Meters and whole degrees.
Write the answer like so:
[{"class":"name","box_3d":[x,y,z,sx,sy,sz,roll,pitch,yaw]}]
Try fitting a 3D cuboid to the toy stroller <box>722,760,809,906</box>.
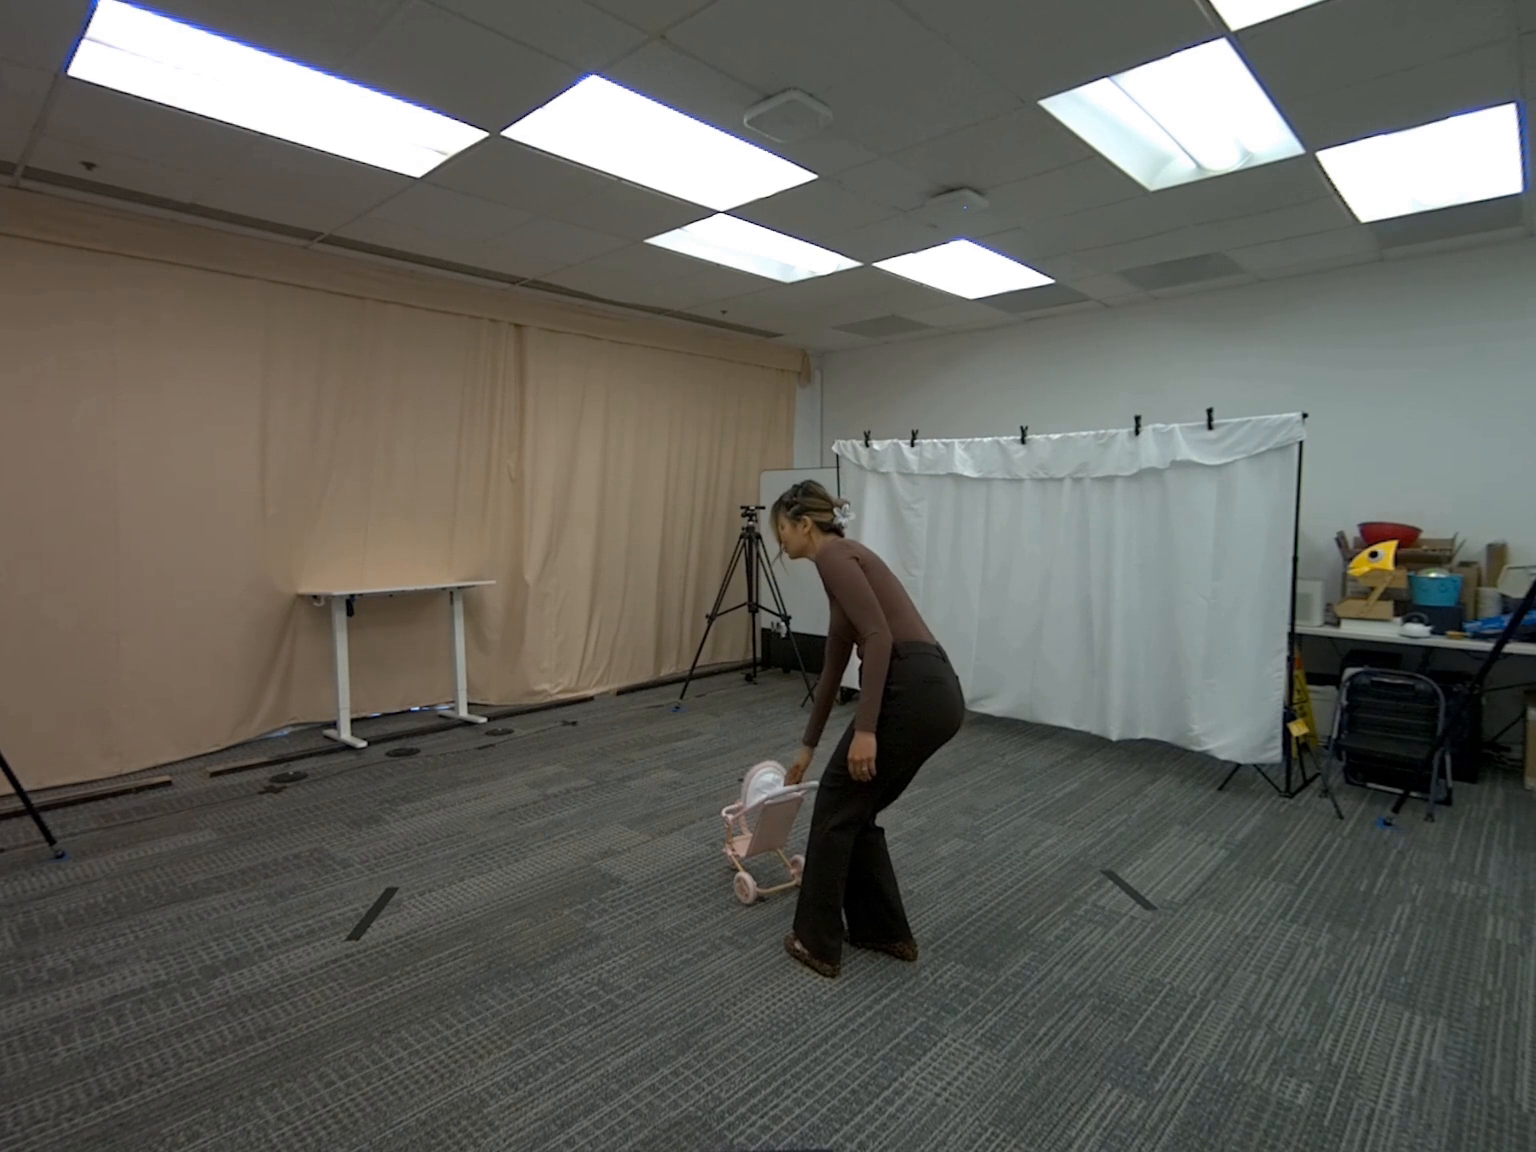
[{"class":"toy stroller","box_3d":[-0.016,0.909,3.064,0.274,0.531,0.353,-2,19,-32]}]
